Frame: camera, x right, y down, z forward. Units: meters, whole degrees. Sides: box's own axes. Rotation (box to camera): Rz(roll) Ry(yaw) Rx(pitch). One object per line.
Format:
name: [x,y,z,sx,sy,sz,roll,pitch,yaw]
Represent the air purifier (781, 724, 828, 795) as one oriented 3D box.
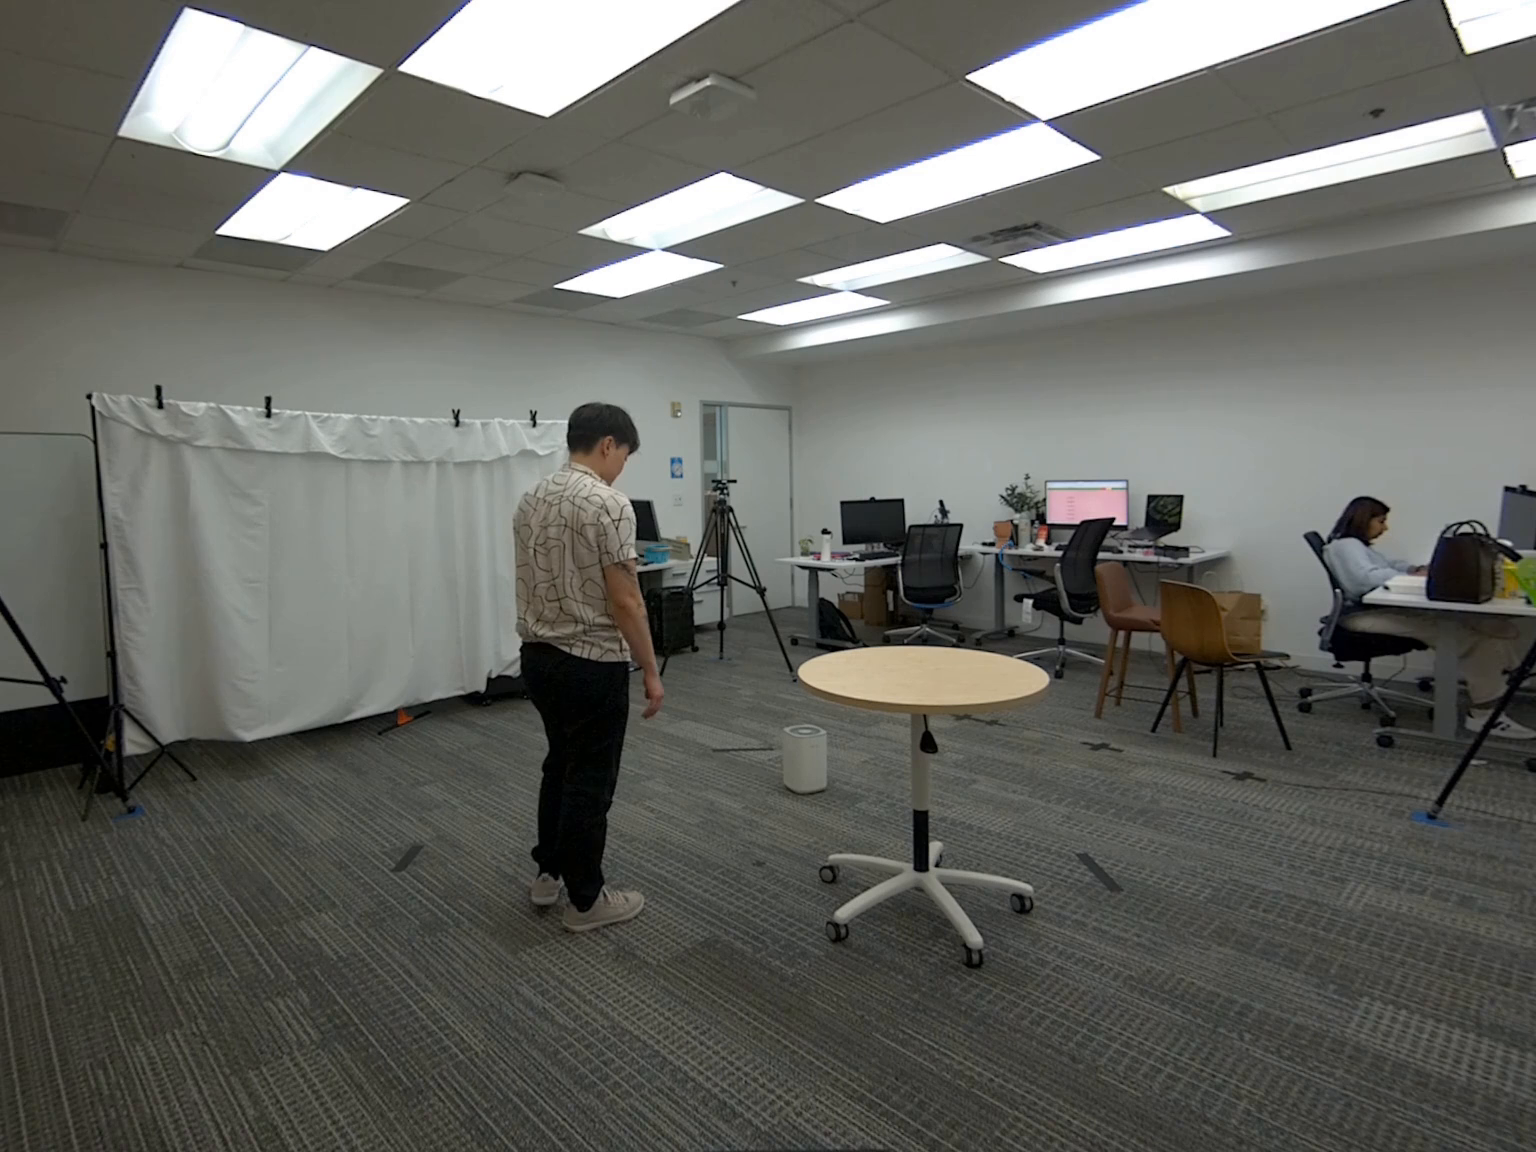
air purifier: [0.170,0.828,3.856,0.167,0.264,0.176,-3,5,-29]
